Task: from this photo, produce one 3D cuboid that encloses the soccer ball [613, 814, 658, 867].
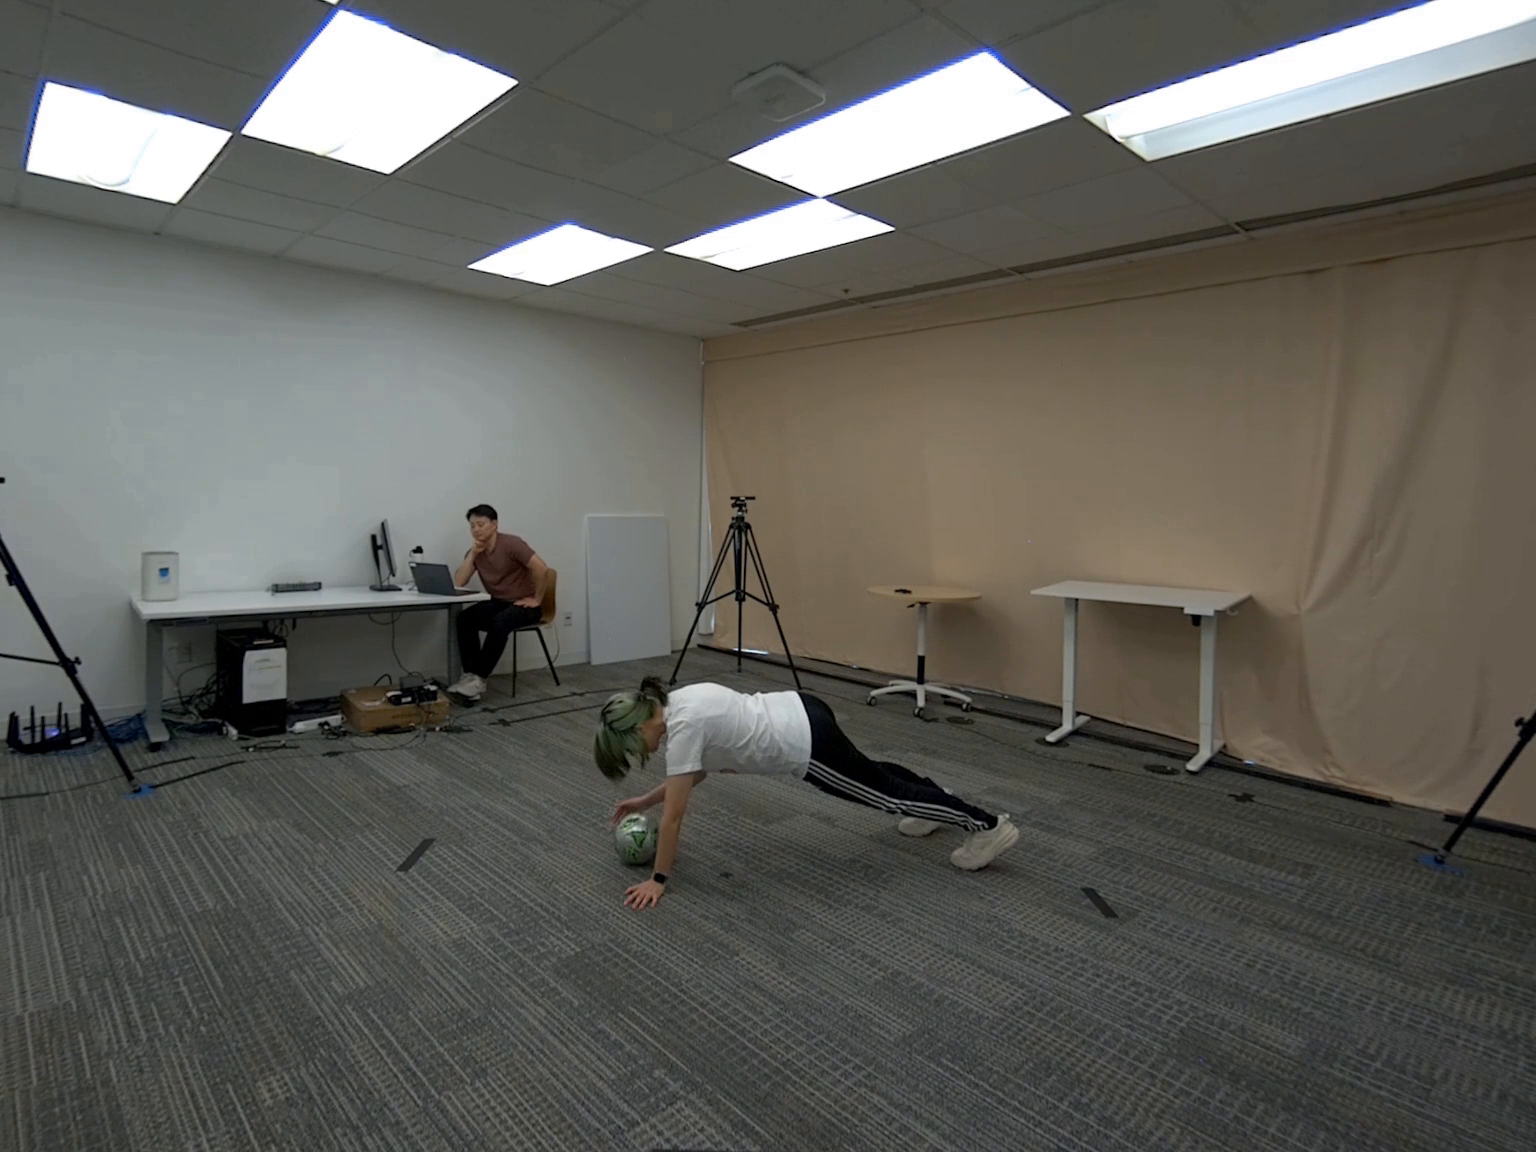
[{"bbox_3d":[-0.493,0.992,3.186,0.187,0.187,0.188,1,4,-1],"label":"soccer ball"}]
